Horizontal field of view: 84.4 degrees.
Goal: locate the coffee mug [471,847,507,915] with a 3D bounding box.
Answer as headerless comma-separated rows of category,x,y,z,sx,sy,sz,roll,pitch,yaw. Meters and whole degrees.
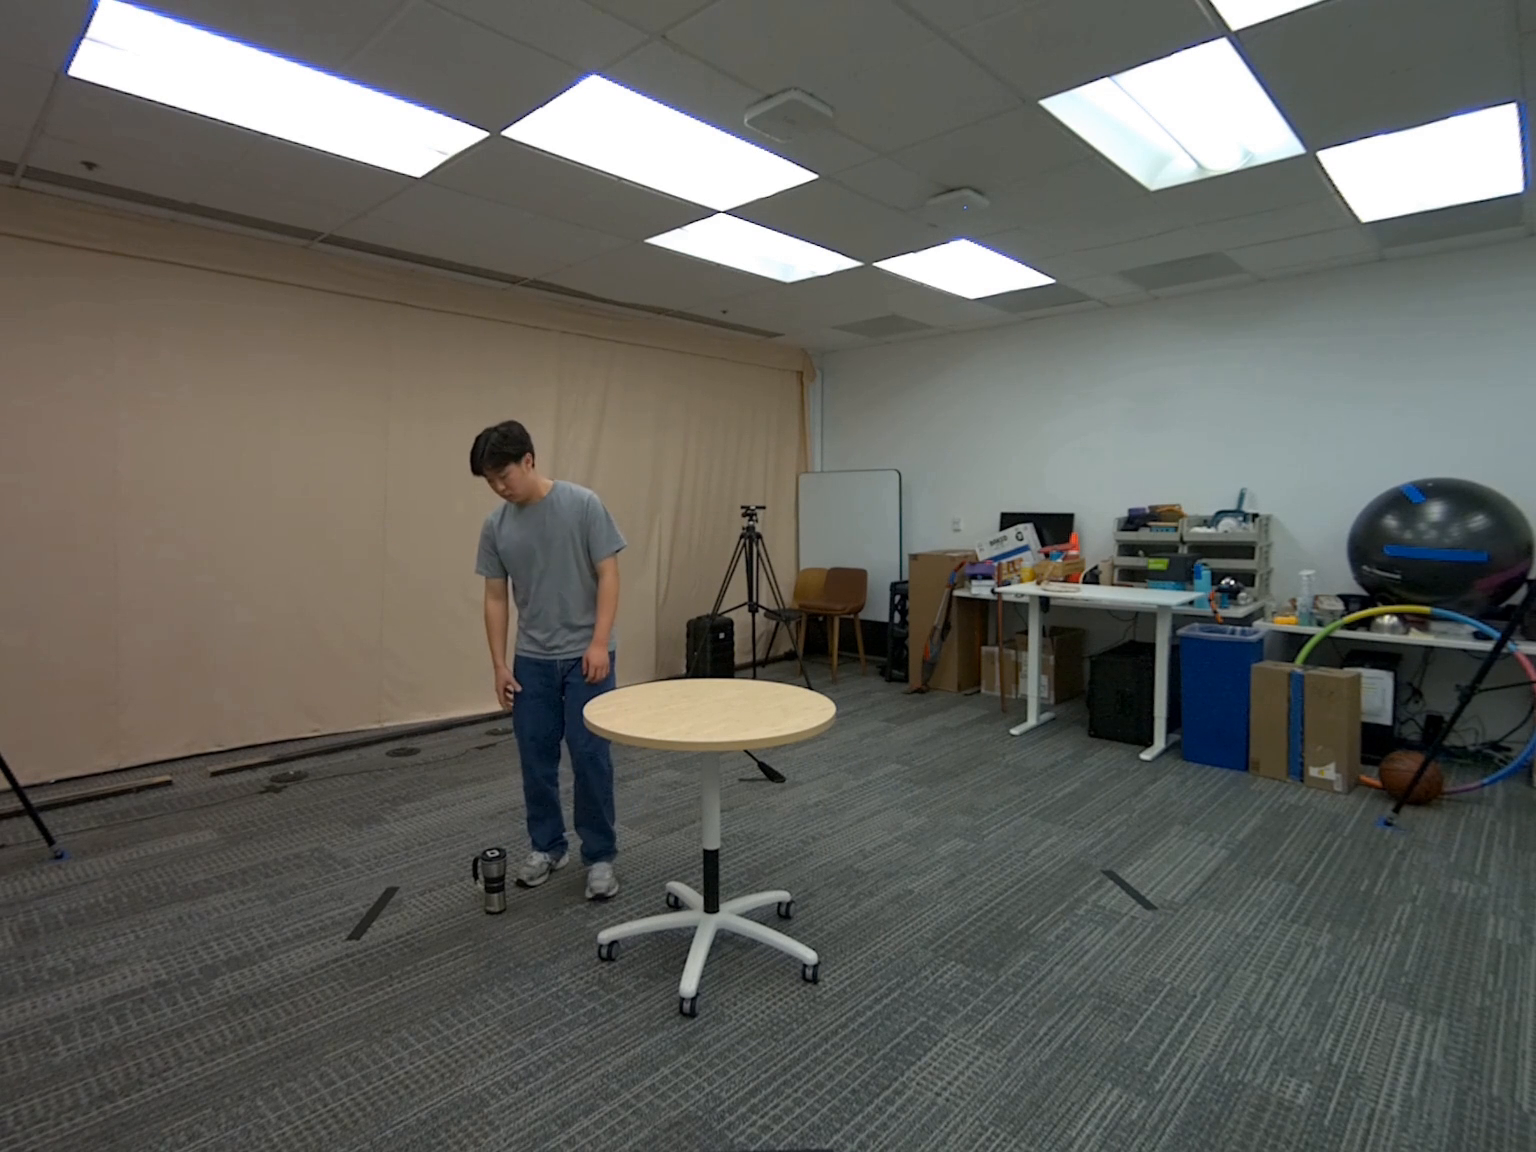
coffee mug,-0.957,1.051,2.934,0.085,0.202,0.126,-7,9,-44
